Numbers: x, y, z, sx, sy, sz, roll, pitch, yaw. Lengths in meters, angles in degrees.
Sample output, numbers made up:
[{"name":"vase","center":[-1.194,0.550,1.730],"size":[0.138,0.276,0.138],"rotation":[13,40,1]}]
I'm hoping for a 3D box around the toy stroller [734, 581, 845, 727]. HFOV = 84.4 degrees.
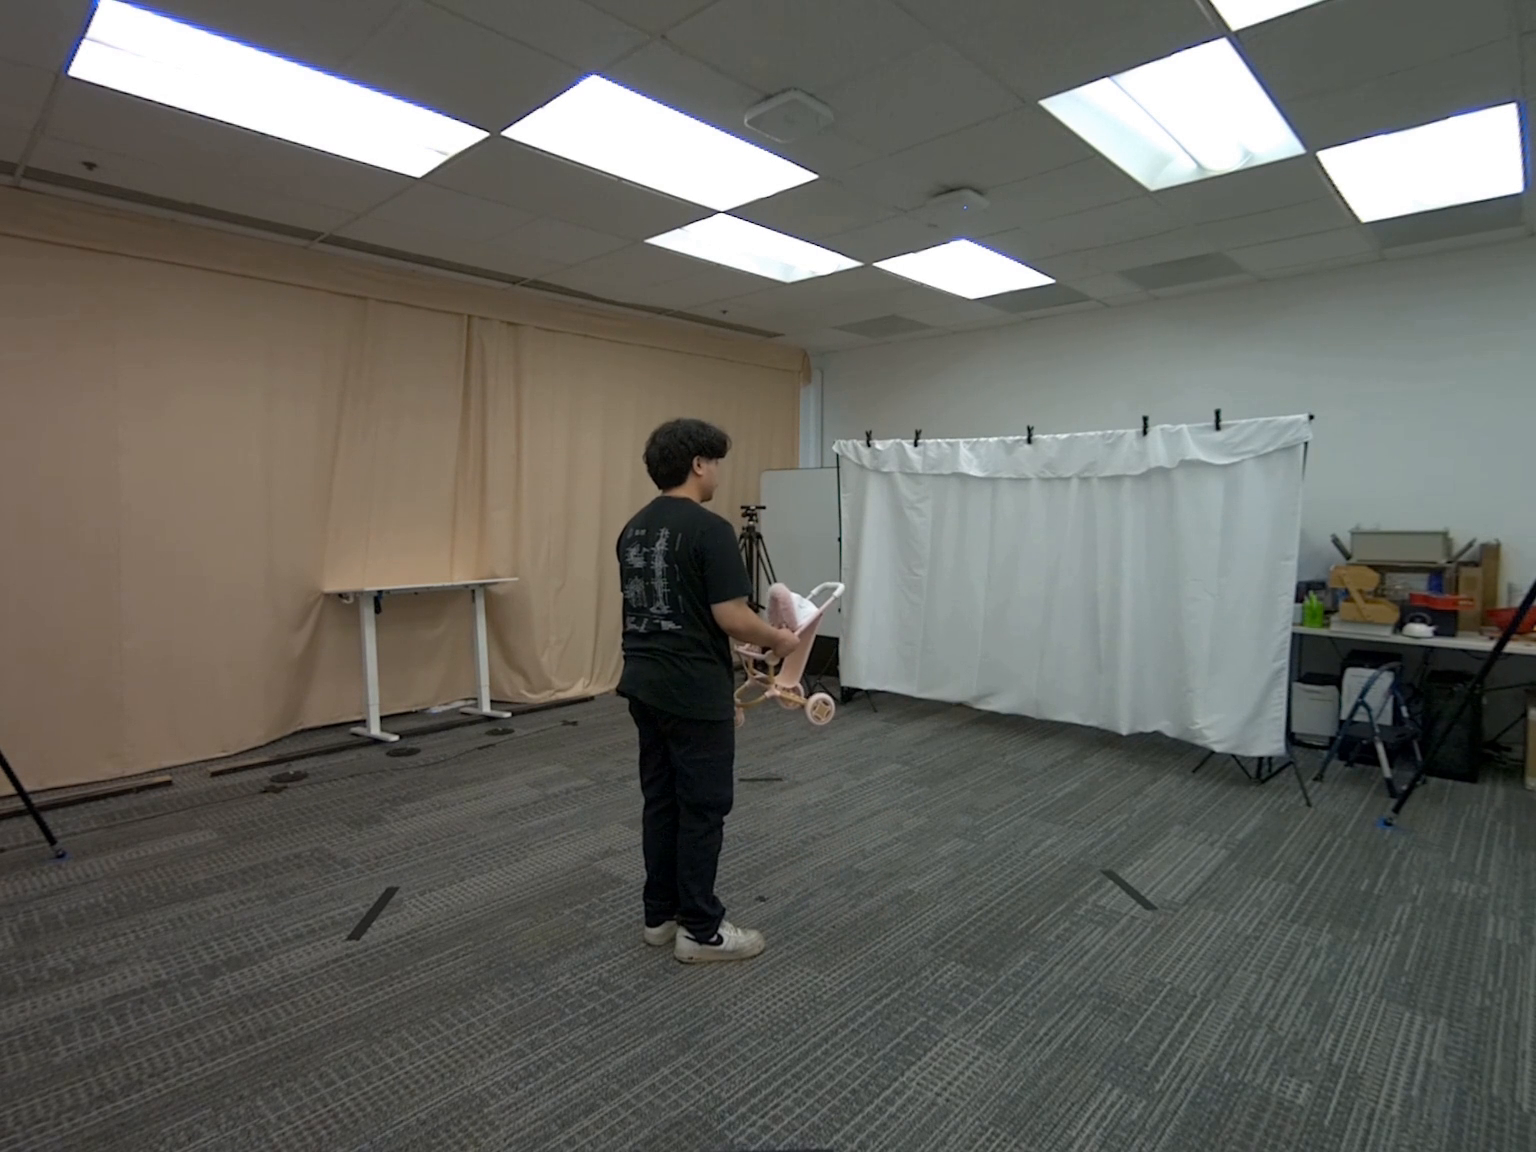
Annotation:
[{"name":"toy stroller","center":[0.054,0.267,2.855],"size":[0.336,0.535,0.286],"rotation":[9,0,-15]}]
